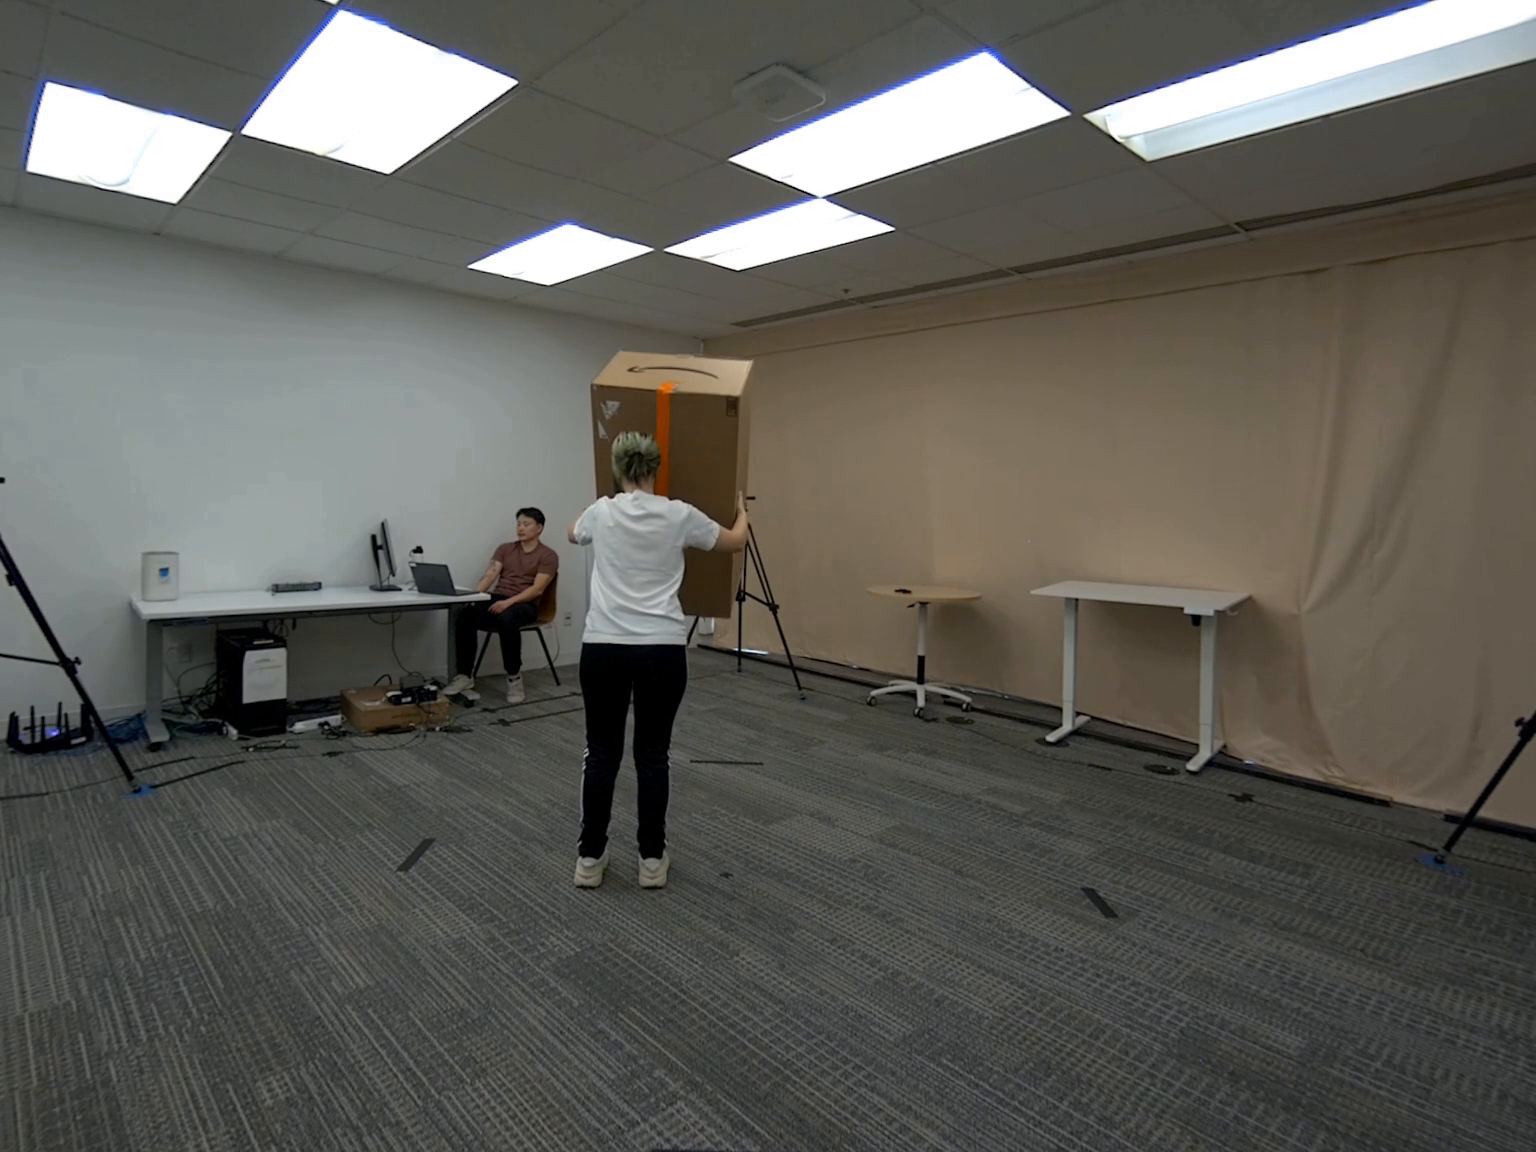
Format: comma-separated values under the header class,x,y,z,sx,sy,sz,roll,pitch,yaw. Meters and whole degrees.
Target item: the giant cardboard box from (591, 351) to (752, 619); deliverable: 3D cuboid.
class,x,y,z,sx,sy,sz,roll,pitch,yaw
giant cardboard box,-0.403,-0.370,3.586,0.587,1.008,0.452,7,31,5
